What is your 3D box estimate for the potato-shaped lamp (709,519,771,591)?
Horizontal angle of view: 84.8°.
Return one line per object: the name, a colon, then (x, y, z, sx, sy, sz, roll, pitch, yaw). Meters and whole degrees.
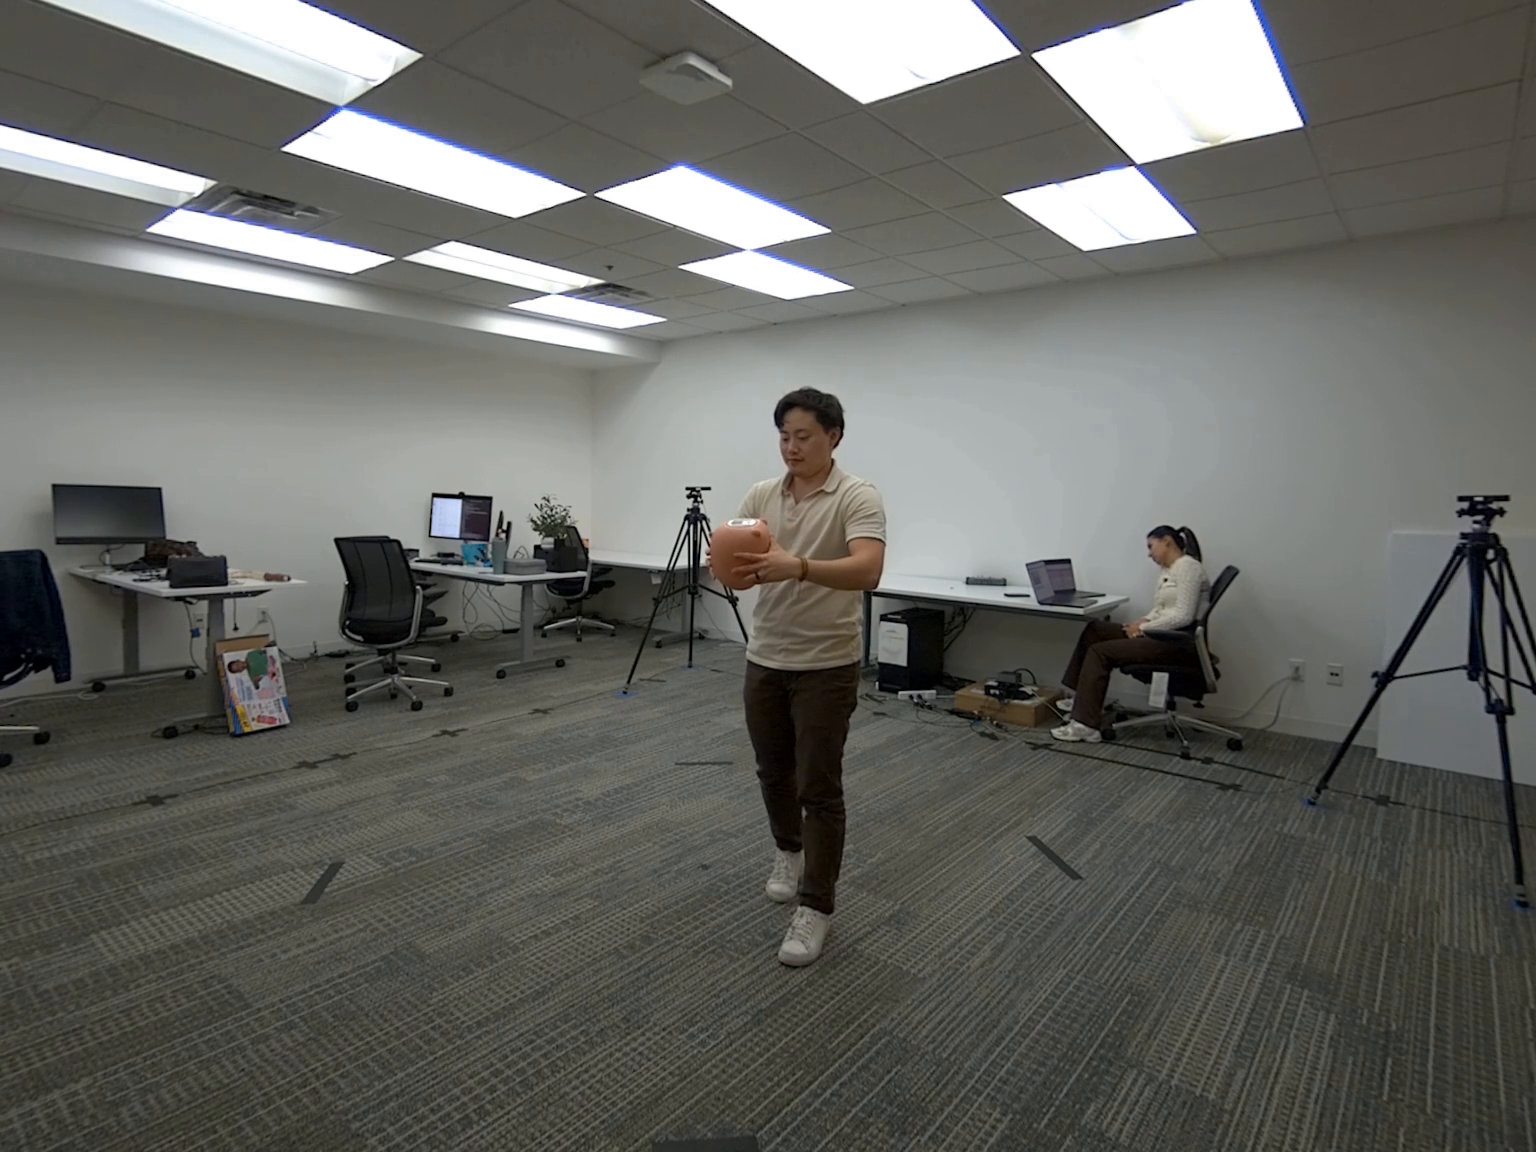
potato-shaped lamp: (-0.078, -0.061, 2.398, 0.170, 0.195, 0.168, -2, 15, -6)
